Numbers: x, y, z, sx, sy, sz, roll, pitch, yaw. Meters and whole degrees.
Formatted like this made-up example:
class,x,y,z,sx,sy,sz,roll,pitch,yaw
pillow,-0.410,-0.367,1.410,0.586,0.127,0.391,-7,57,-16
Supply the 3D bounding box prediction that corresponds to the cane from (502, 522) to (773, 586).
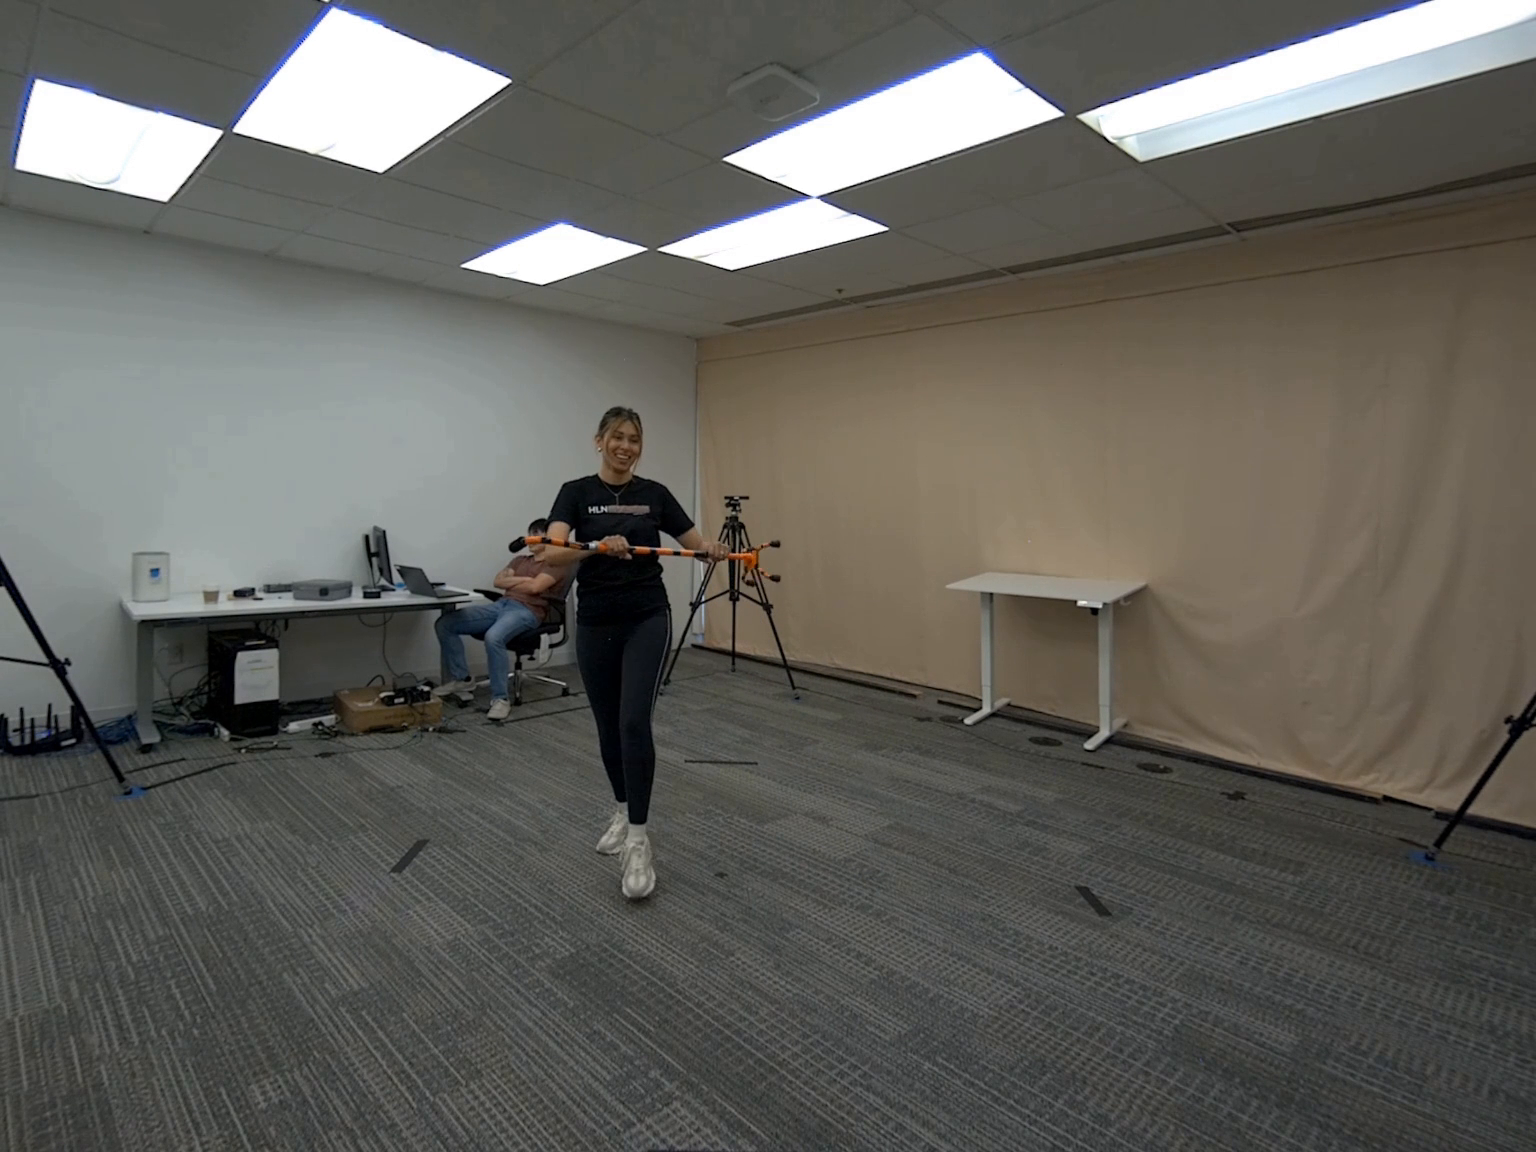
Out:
class,x,y,z,sx,sy,sz,roll,pitch,yaw
cane,-0.414,-0.066,2.858,0.887,0.152,0.211,3,-2,-35
